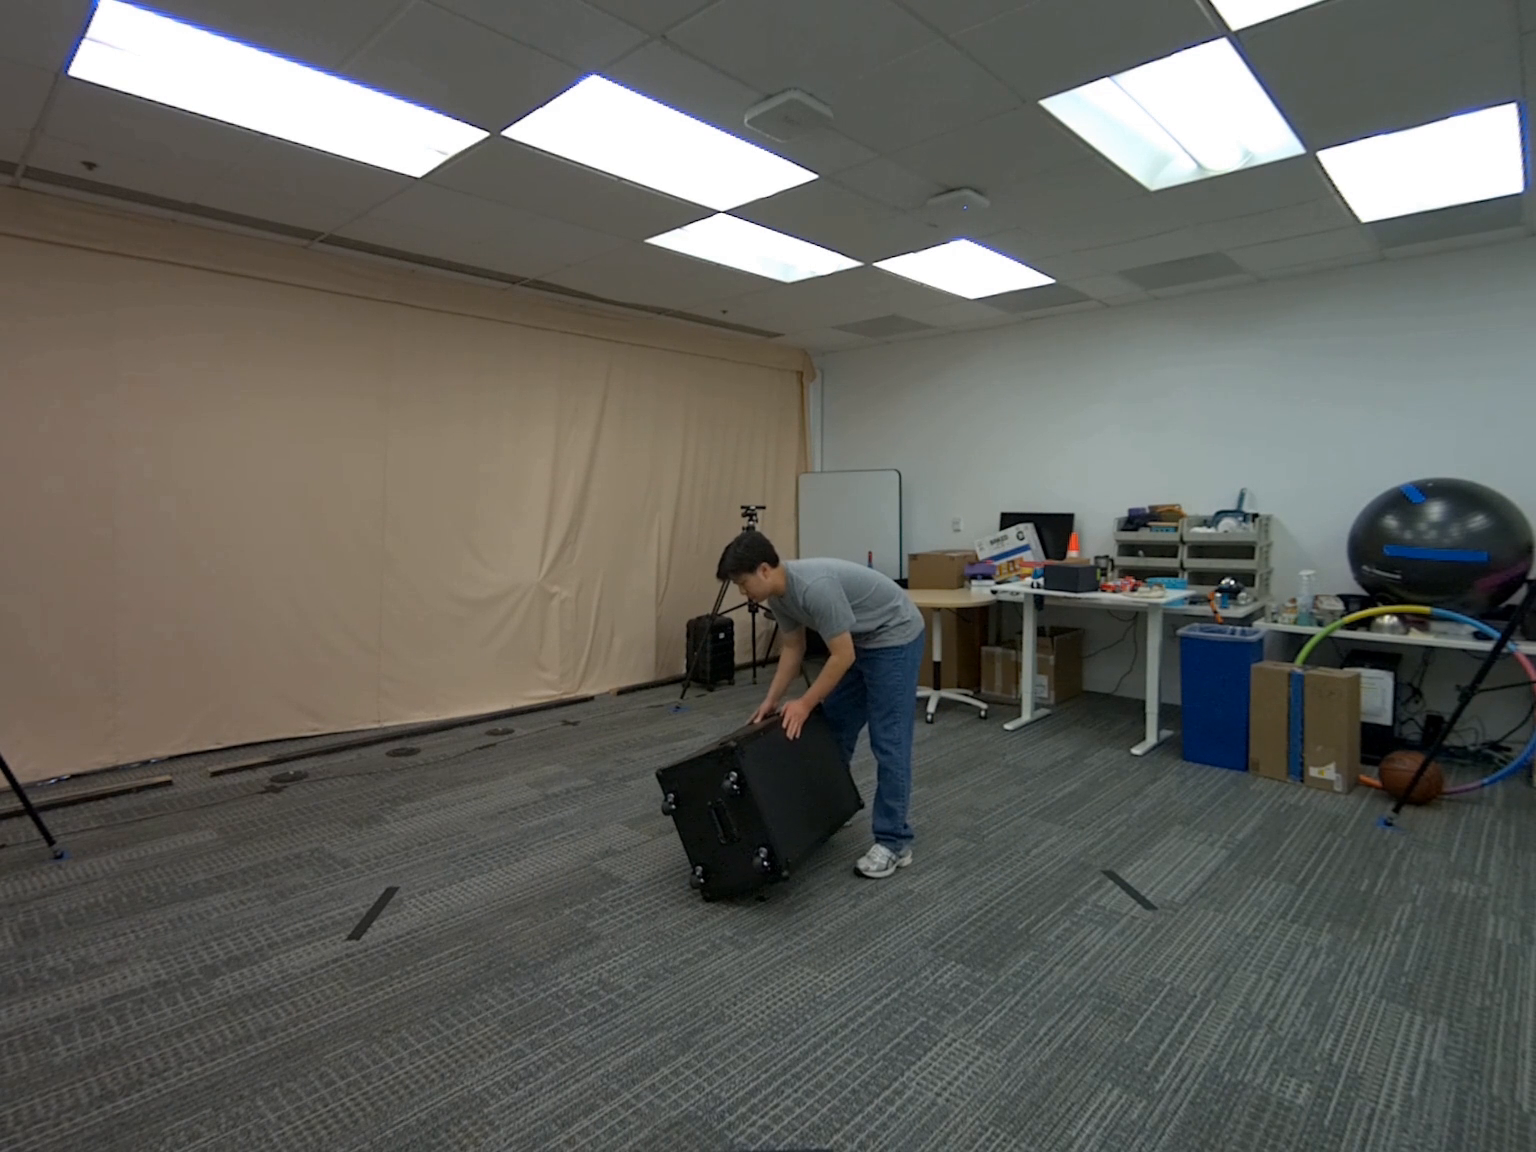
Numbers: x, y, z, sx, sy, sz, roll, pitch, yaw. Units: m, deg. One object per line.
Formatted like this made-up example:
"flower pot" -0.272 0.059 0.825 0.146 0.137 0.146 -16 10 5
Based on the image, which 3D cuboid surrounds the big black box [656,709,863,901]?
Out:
"big black box" -0.036 0.832 3.229 0.402 0.526 0.840 -26 -8 25
